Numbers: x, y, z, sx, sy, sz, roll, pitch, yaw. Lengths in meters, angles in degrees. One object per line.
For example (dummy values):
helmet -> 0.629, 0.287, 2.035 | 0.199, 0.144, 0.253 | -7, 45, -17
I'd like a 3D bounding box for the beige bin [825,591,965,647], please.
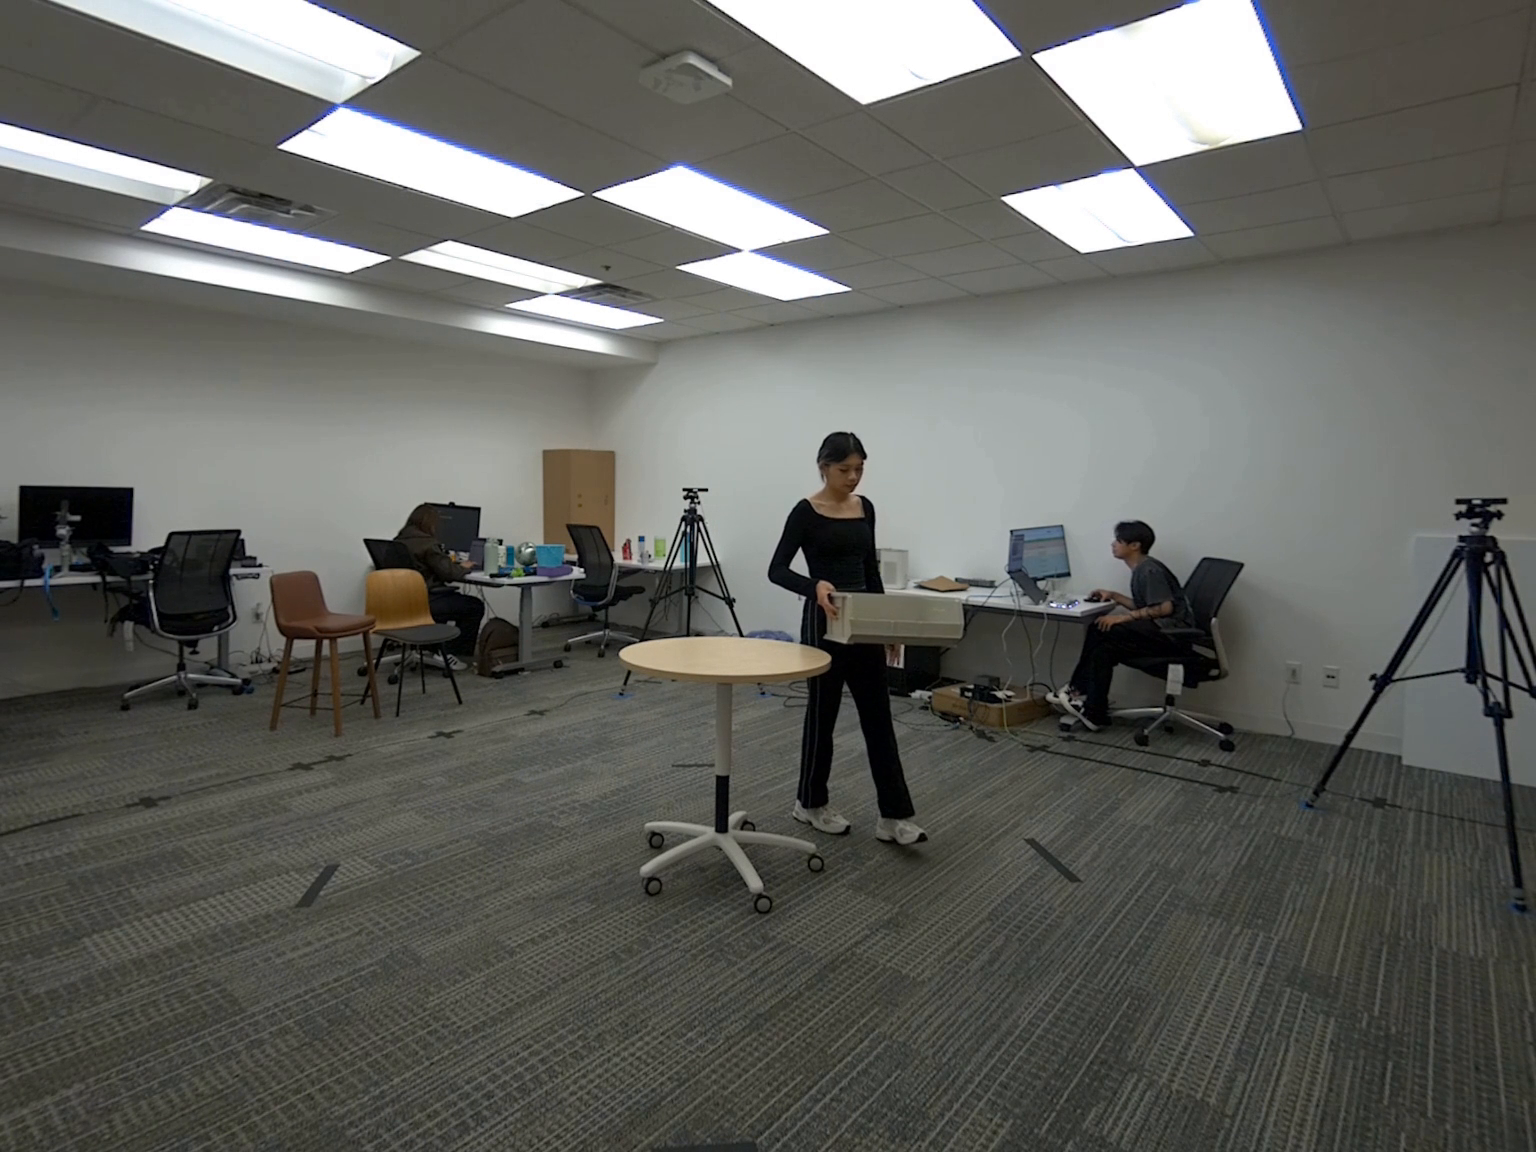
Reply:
beige bin -> 0.450, 0.161, 3.160 | 0.418, 0.189, 0.380 | 2, -2, -9
